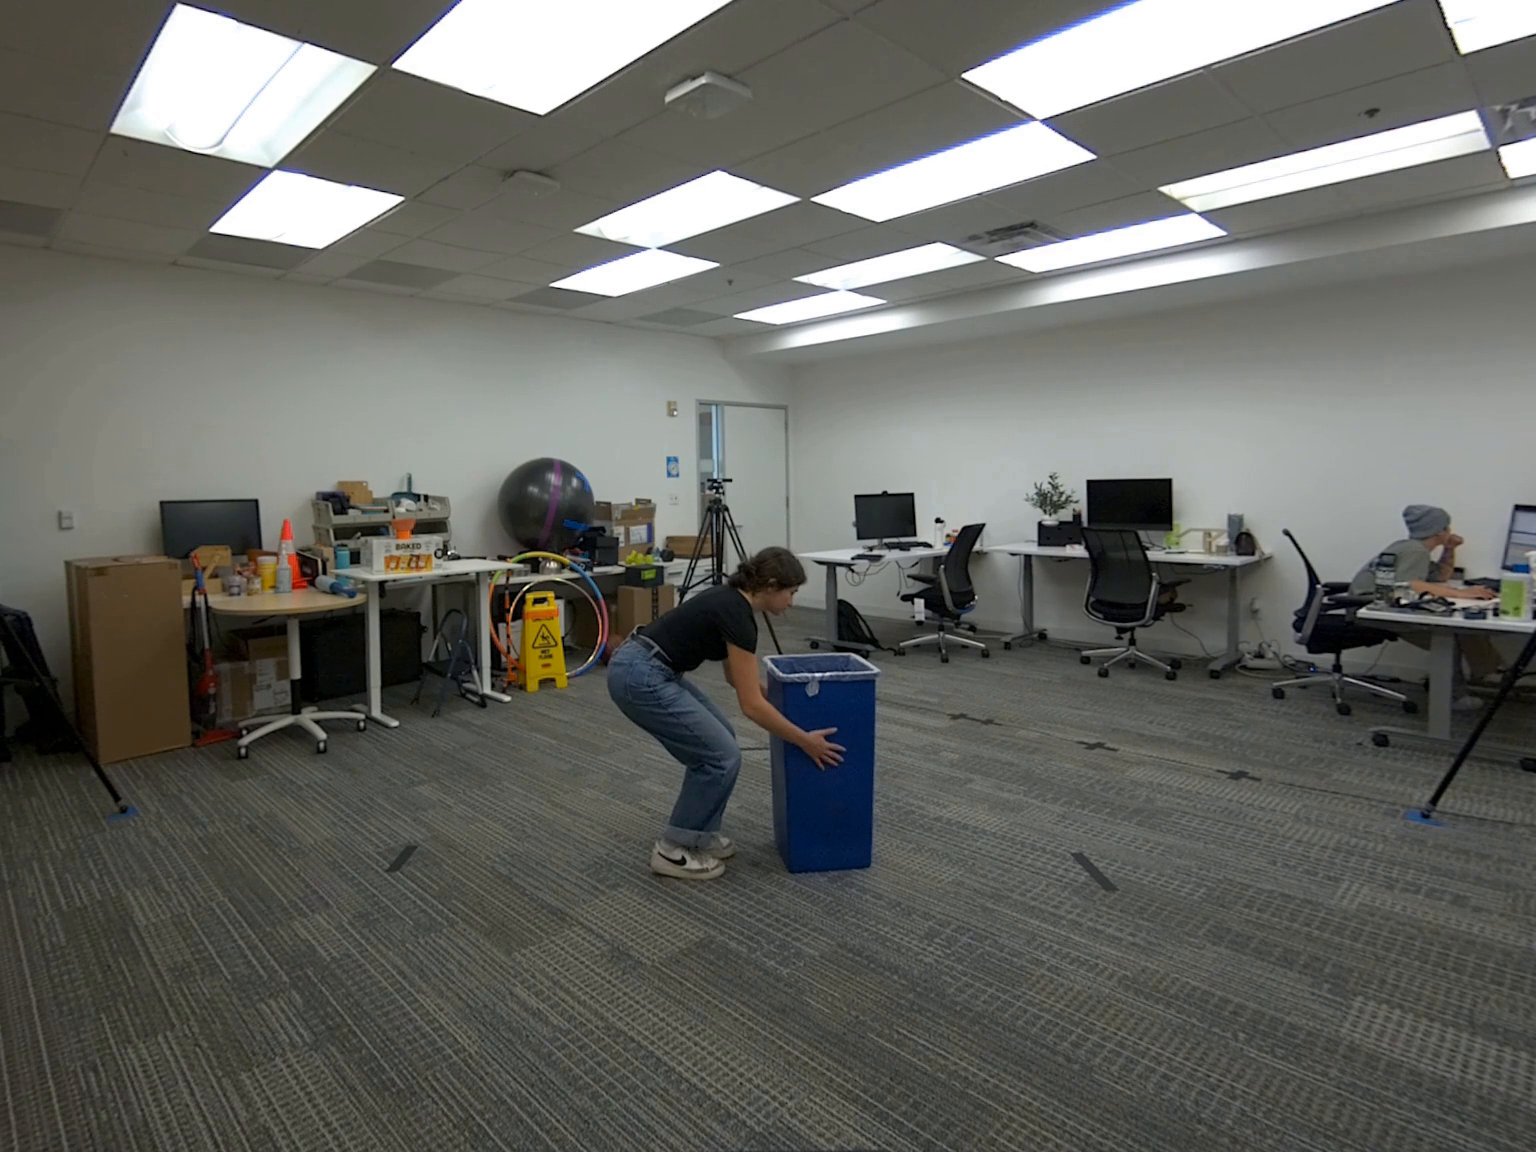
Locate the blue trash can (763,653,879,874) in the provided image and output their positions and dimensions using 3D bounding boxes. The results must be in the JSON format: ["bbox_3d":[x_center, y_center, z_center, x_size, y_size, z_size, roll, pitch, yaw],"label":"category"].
[{"bbox_3d":[0.187,0.674,3.163,0.375,0.711,0.378,-1,4,-9],"label":"blue trash can"}]
